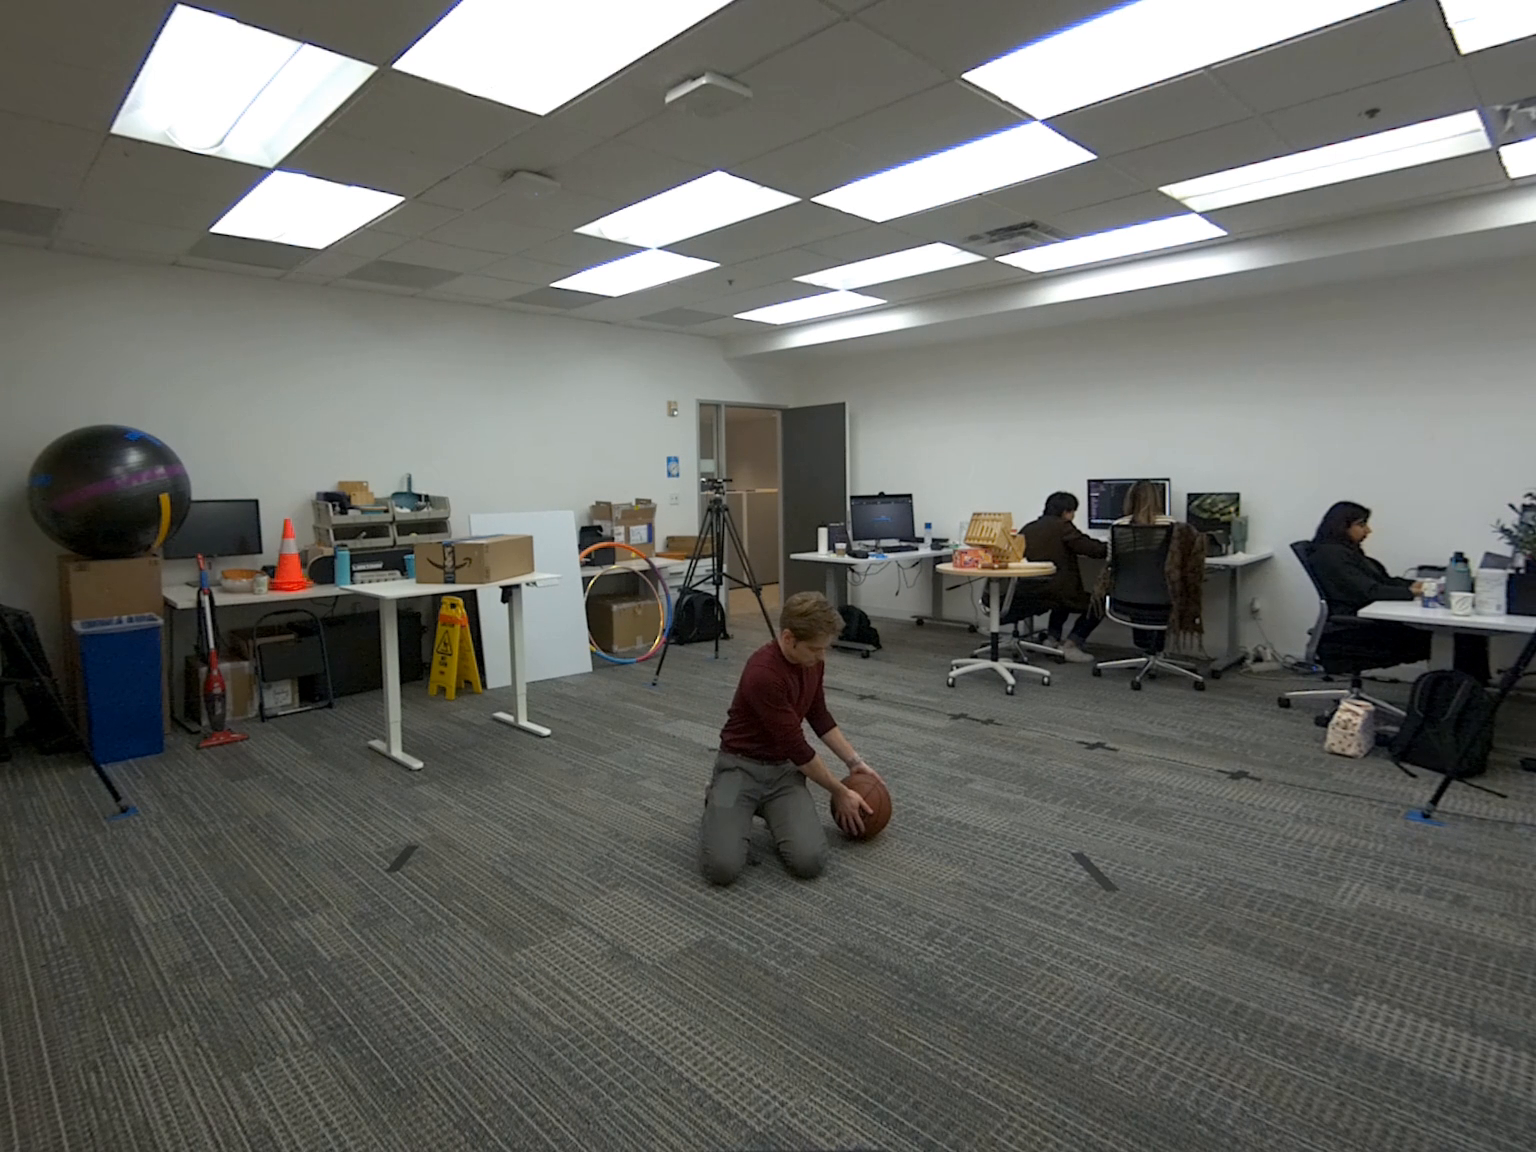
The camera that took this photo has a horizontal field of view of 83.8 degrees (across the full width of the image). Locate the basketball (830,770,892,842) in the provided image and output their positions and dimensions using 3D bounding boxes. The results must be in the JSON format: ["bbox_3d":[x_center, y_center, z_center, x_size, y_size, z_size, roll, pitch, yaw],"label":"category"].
[{"bbox_3d":[0.361,0.885,3.326,0.236,0.235,0.237,-1,5,-2],"label":"basketball"}]
